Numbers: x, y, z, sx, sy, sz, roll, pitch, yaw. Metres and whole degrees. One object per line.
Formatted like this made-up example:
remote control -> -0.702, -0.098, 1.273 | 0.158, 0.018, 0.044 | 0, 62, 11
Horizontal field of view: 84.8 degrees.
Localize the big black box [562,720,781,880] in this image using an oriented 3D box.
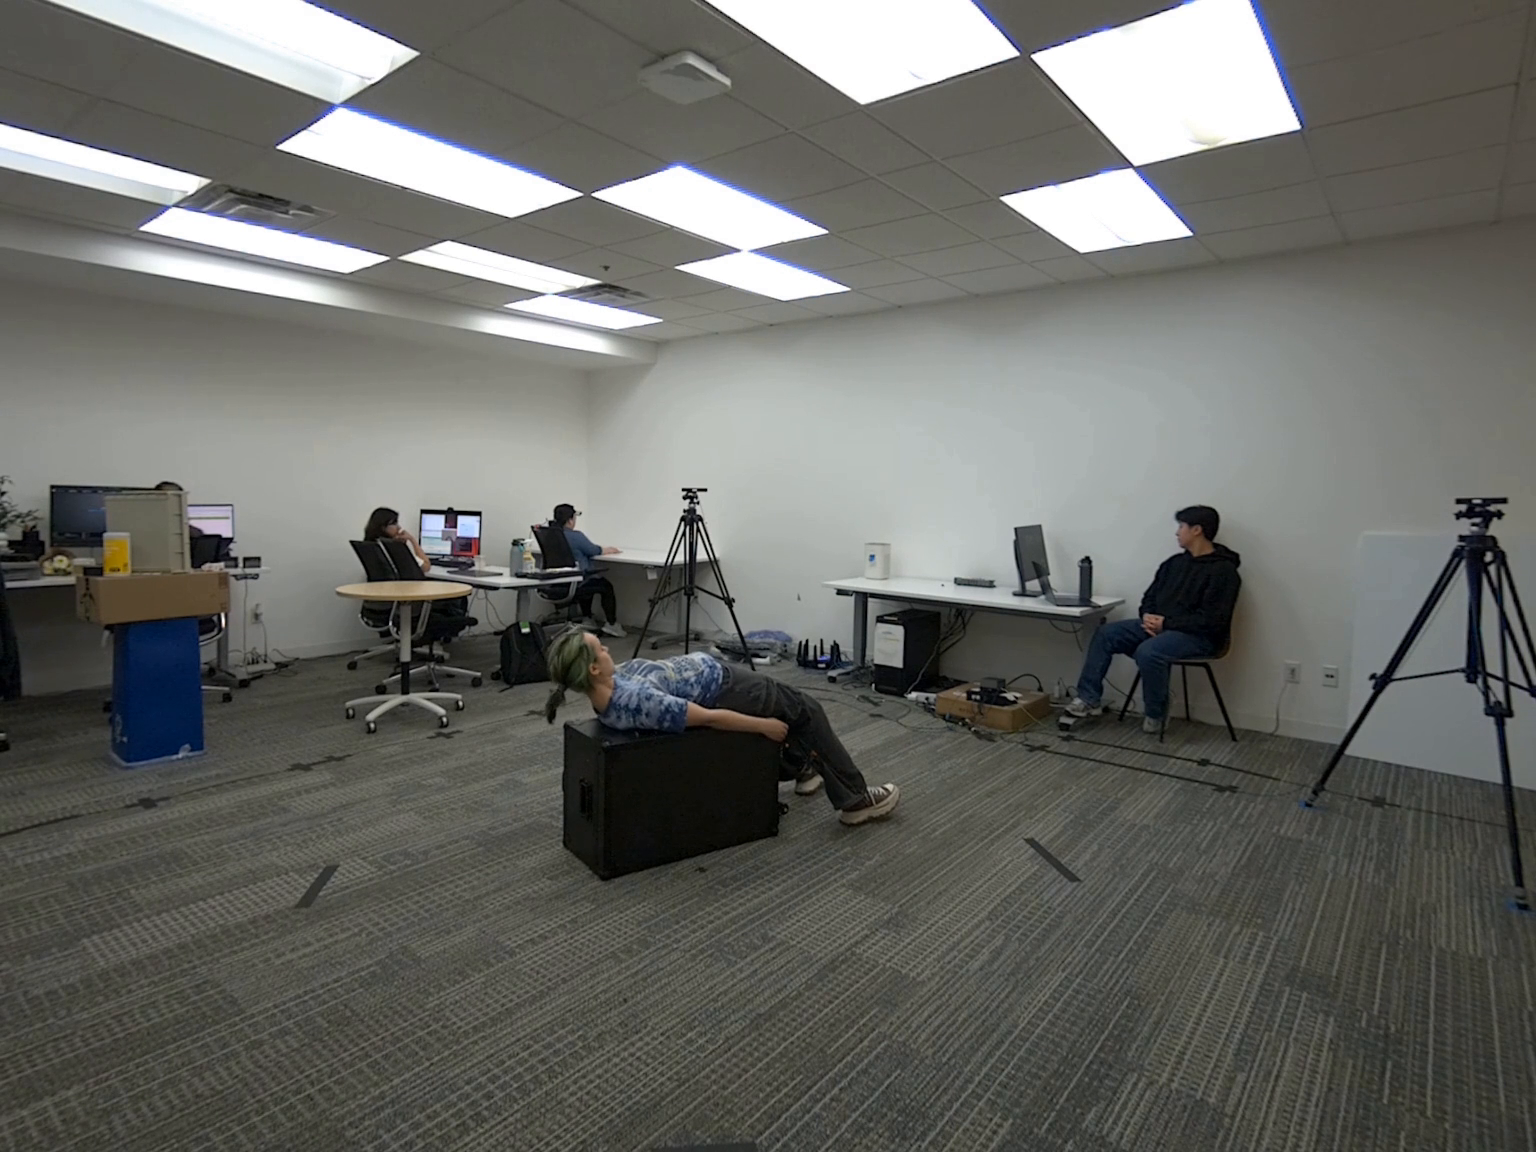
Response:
big black box -> -0.363, 0.800, 3.368 | 0.837, 0.520, 0.409 | -1, 5, -34
